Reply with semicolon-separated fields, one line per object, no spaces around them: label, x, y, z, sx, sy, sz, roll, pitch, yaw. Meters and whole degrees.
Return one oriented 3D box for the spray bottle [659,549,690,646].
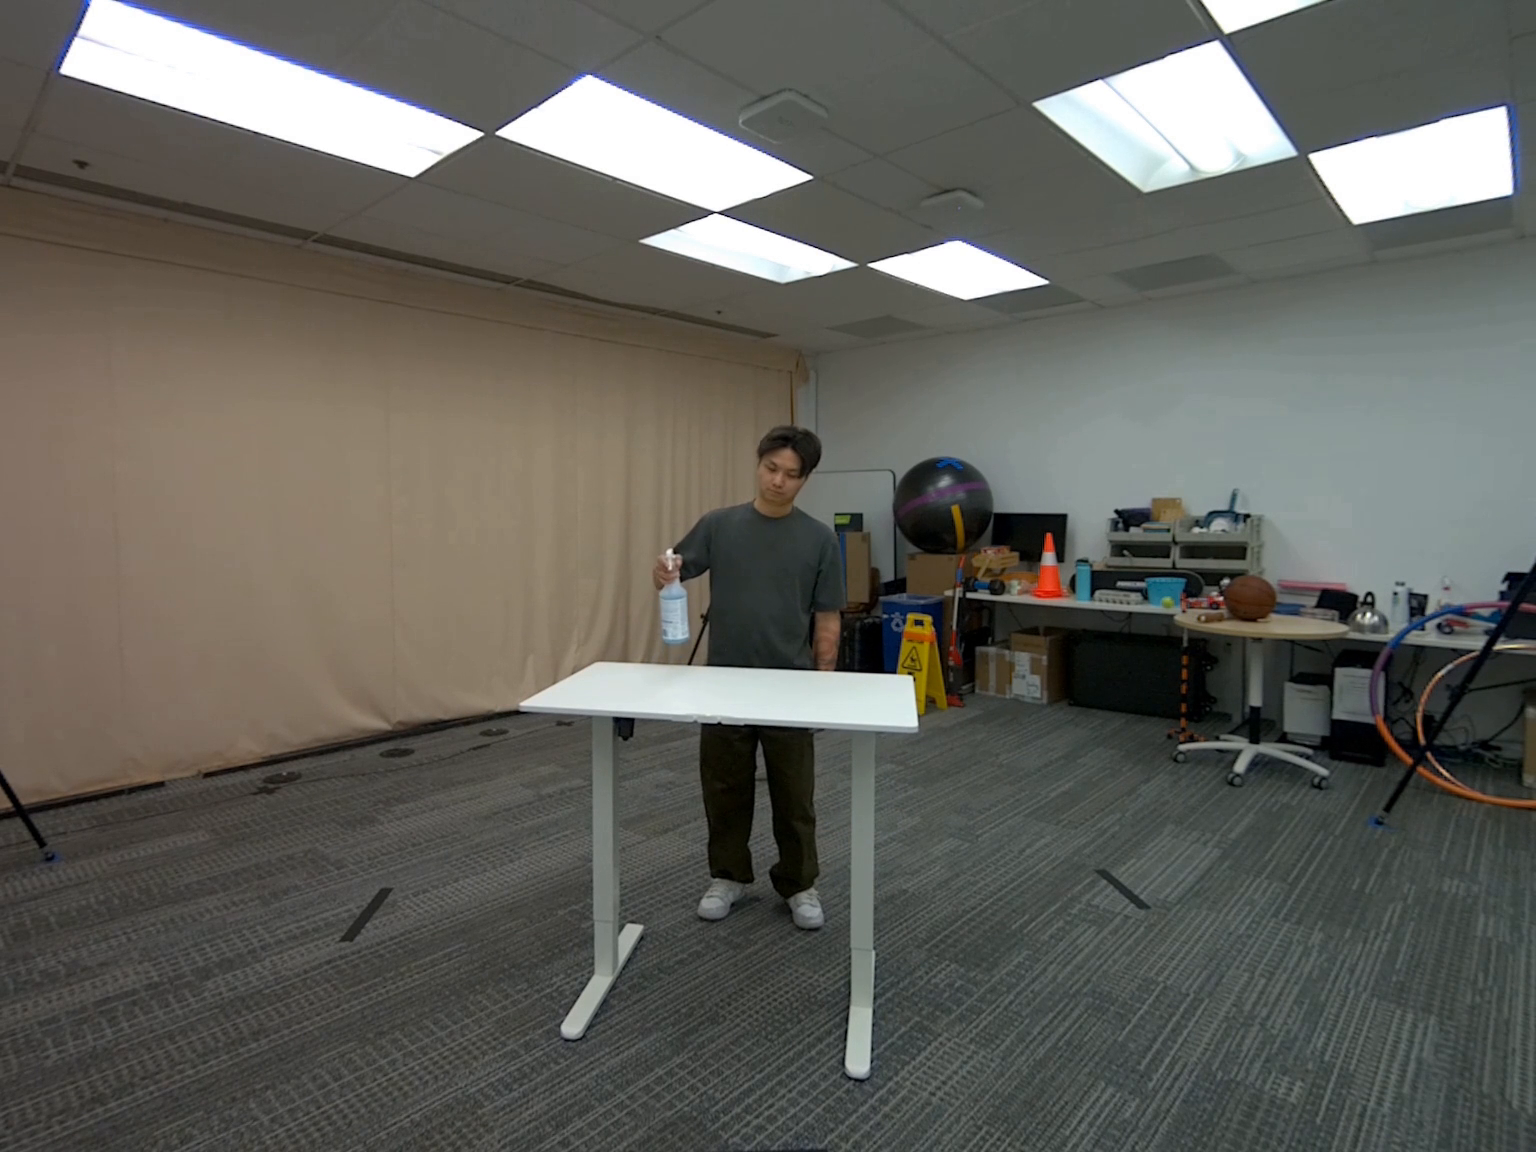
spray bottle;-0.298;0.063;2.639;0.089;0.295;0.088;5;13;29
